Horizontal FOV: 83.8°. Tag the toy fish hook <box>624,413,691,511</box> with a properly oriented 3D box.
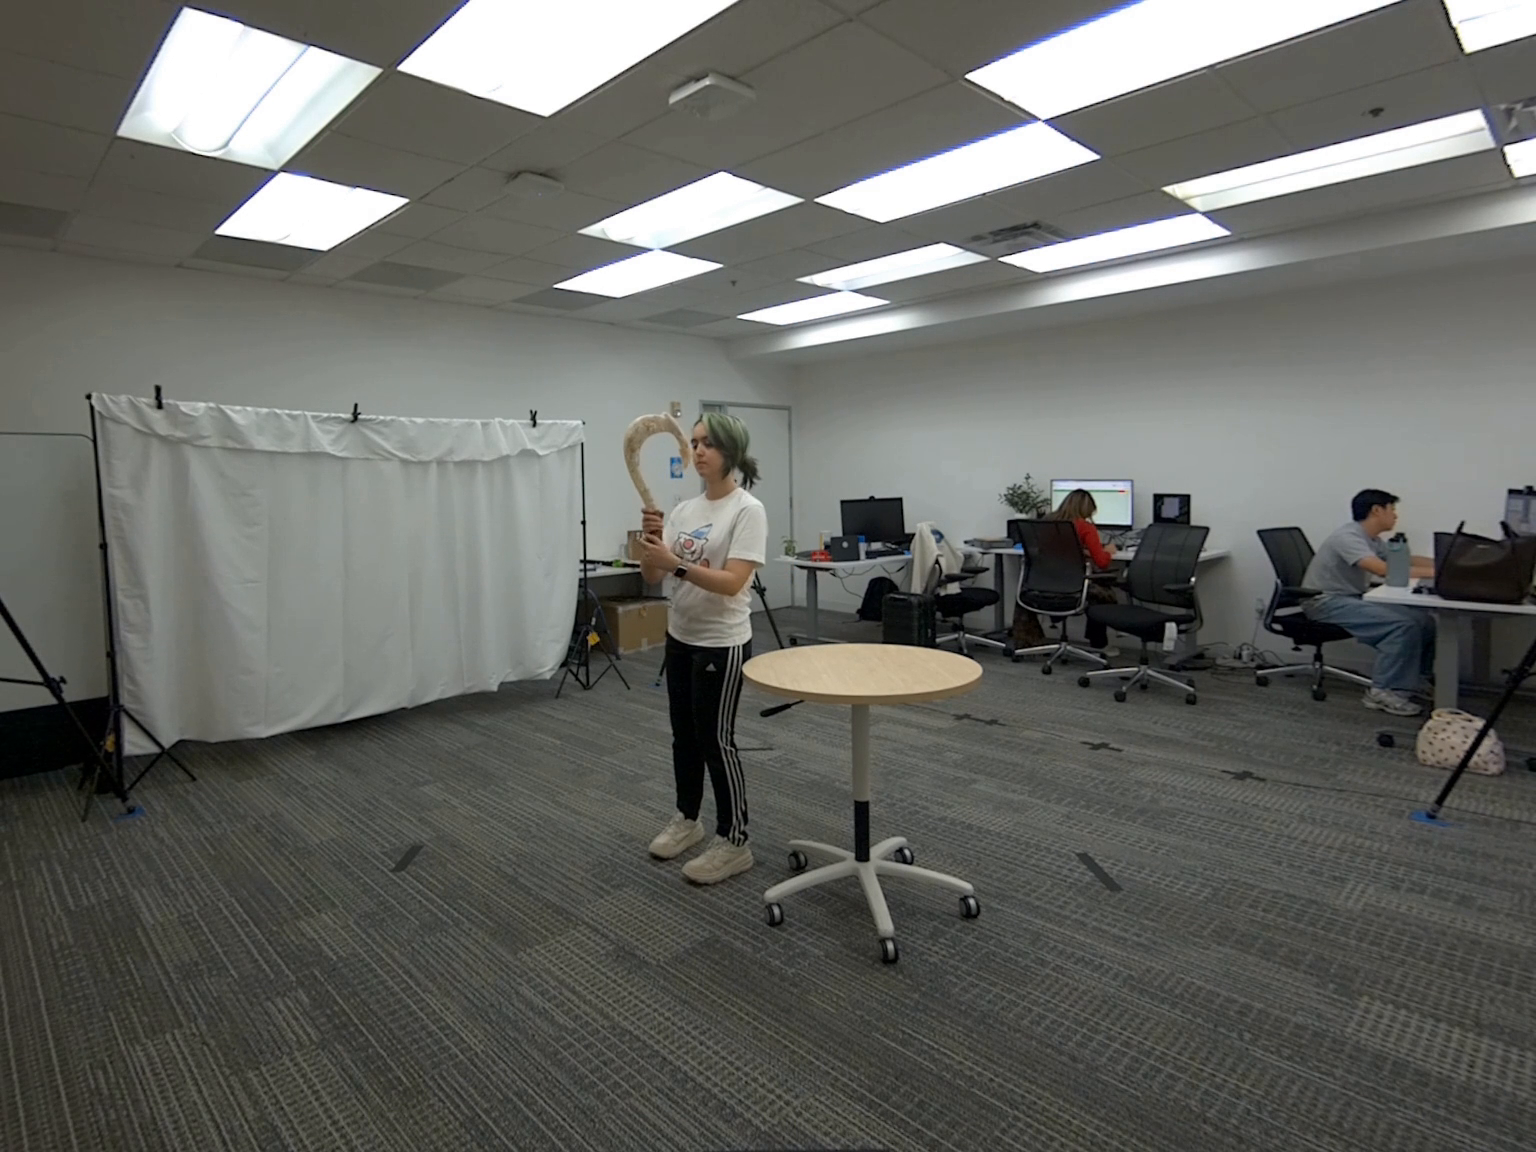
[{"bbox_3d":[-0.347,-0.278,2.801,0.222,0.498,0.050,-12,16,-18],"label":"toy fish hook"}]
